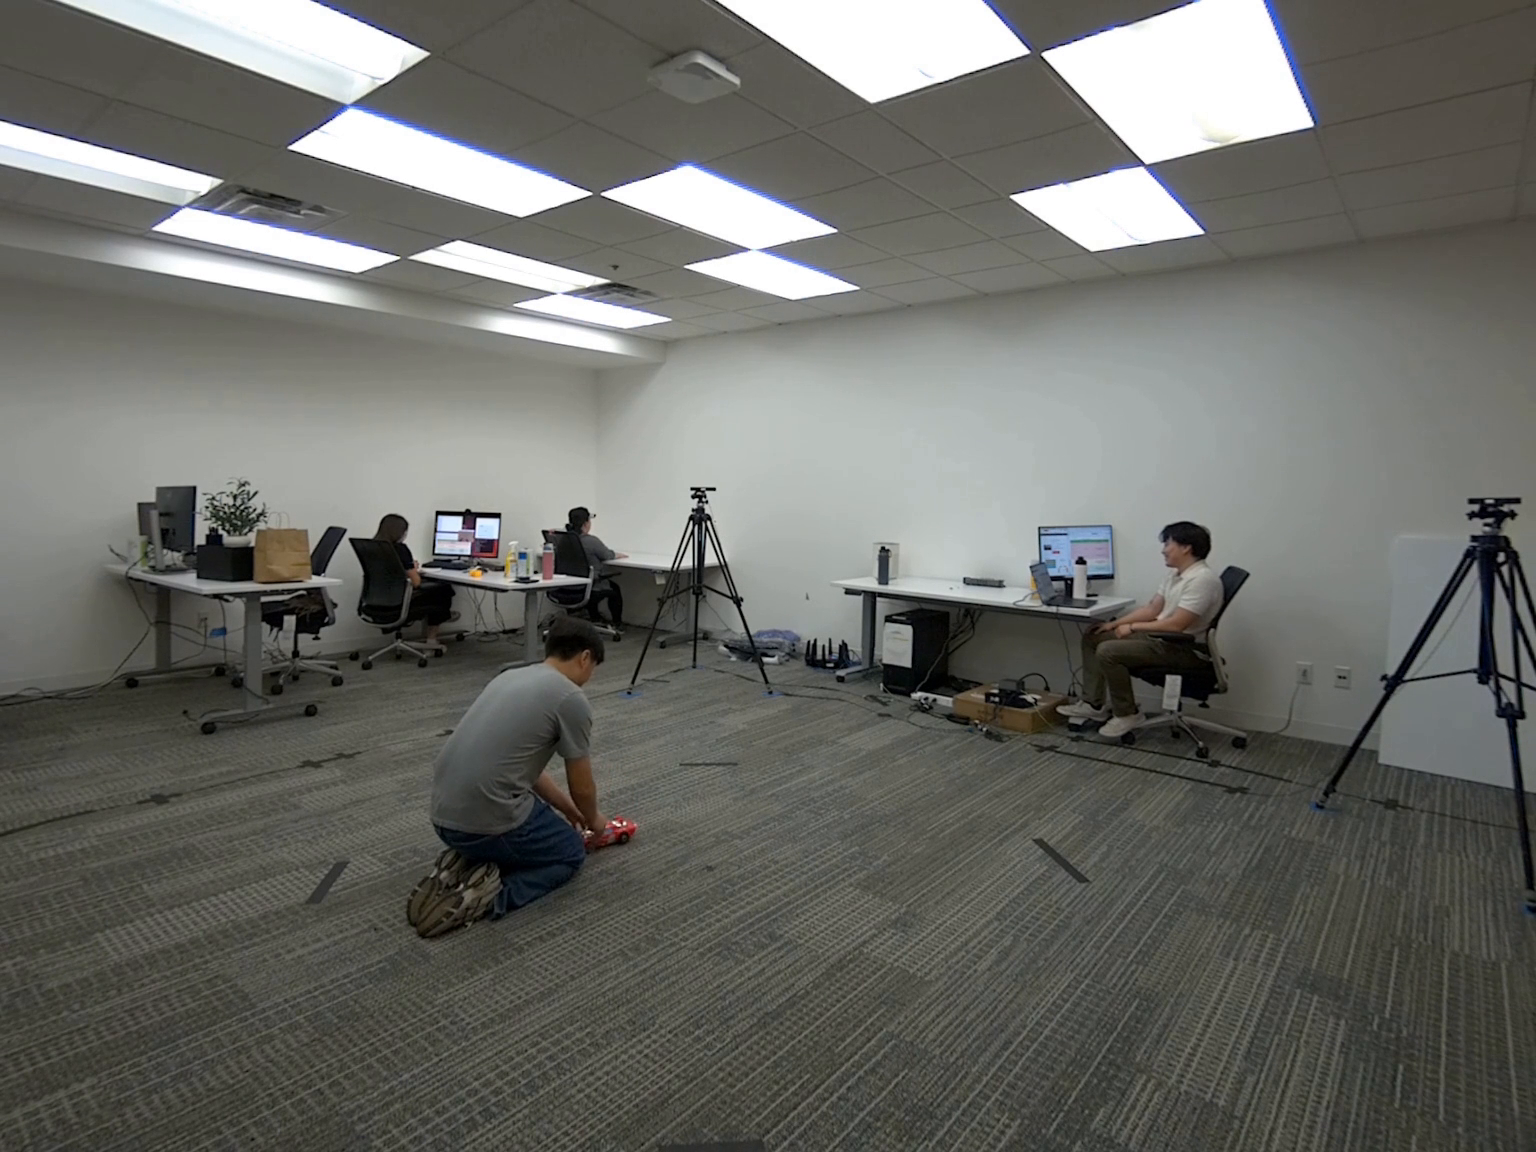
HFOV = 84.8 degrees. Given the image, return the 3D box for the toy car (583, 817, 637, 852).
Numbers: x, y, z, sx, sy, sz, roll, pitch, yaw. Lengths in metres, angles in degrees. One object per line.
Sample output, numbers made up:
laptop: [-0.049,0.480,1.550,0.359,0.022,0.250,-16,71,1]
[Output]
toy car: [-0.642,1.006,3.318,0.249,0.082,0.134,-17,13,-33]
